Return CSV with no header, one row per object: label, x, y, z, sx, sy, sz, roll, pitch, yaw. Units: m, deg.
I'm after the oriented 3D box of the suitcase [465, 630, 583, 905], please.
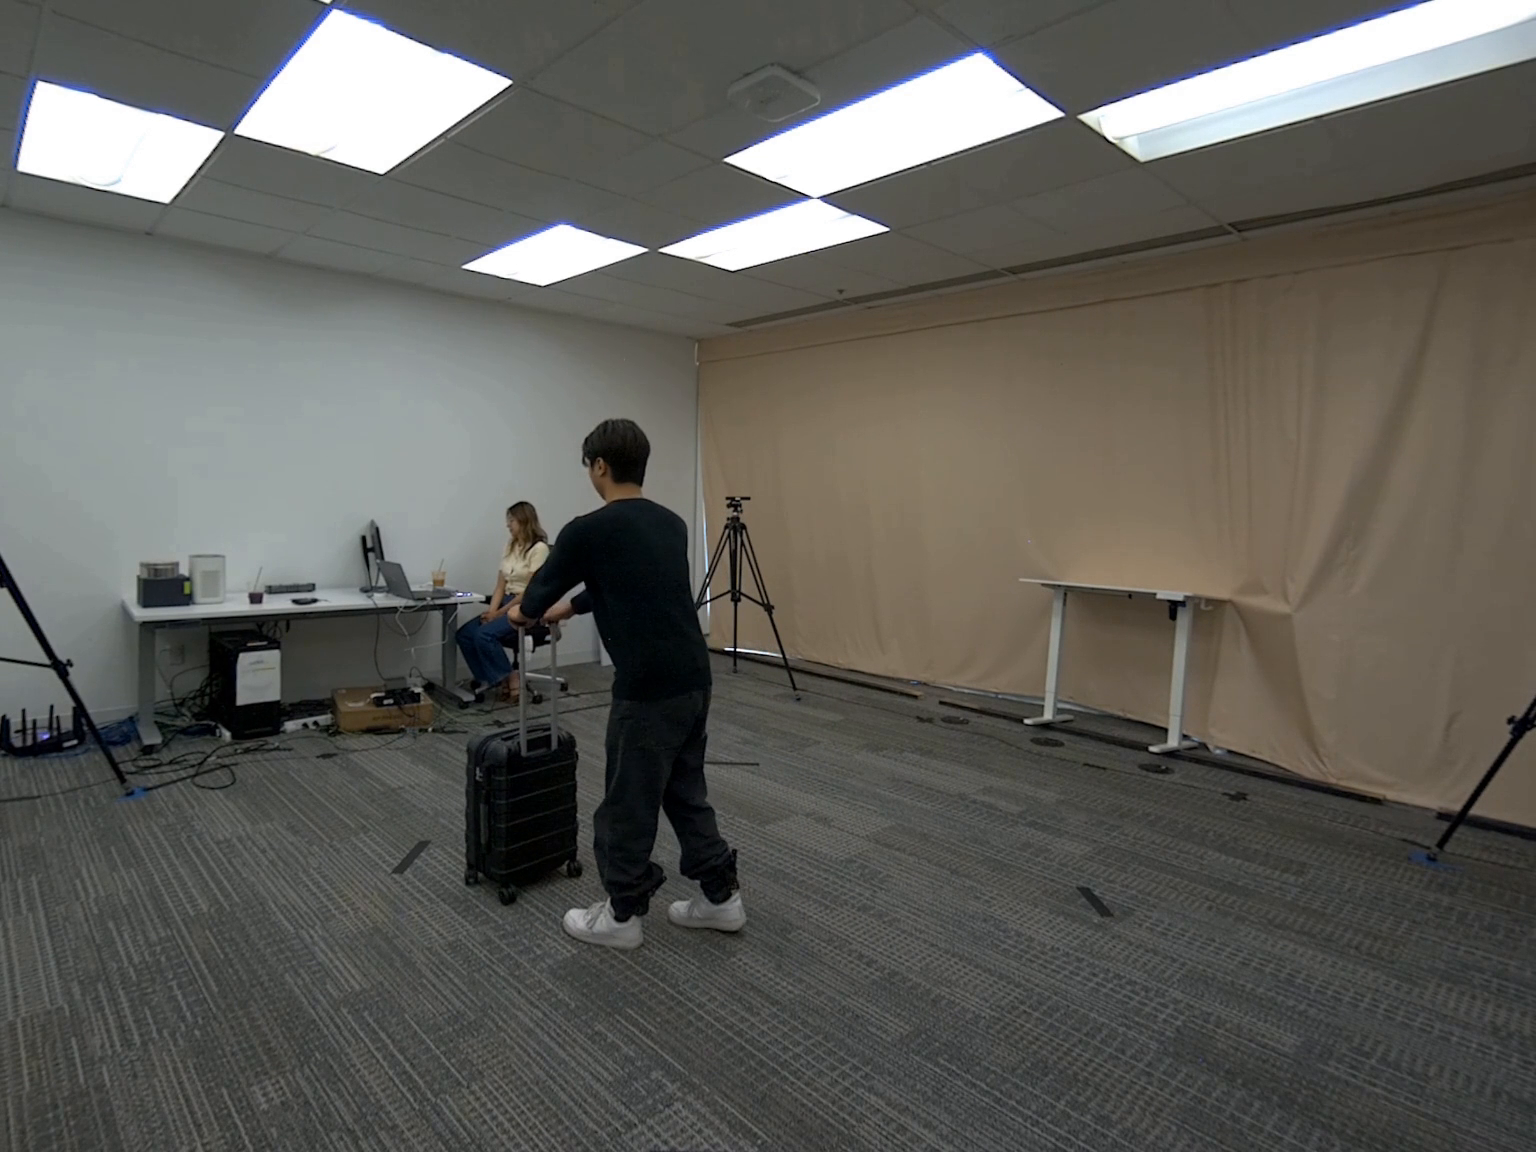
suitcase,-0.904,0.623,3.041,0.263,0.978,0.375,0,2,39
